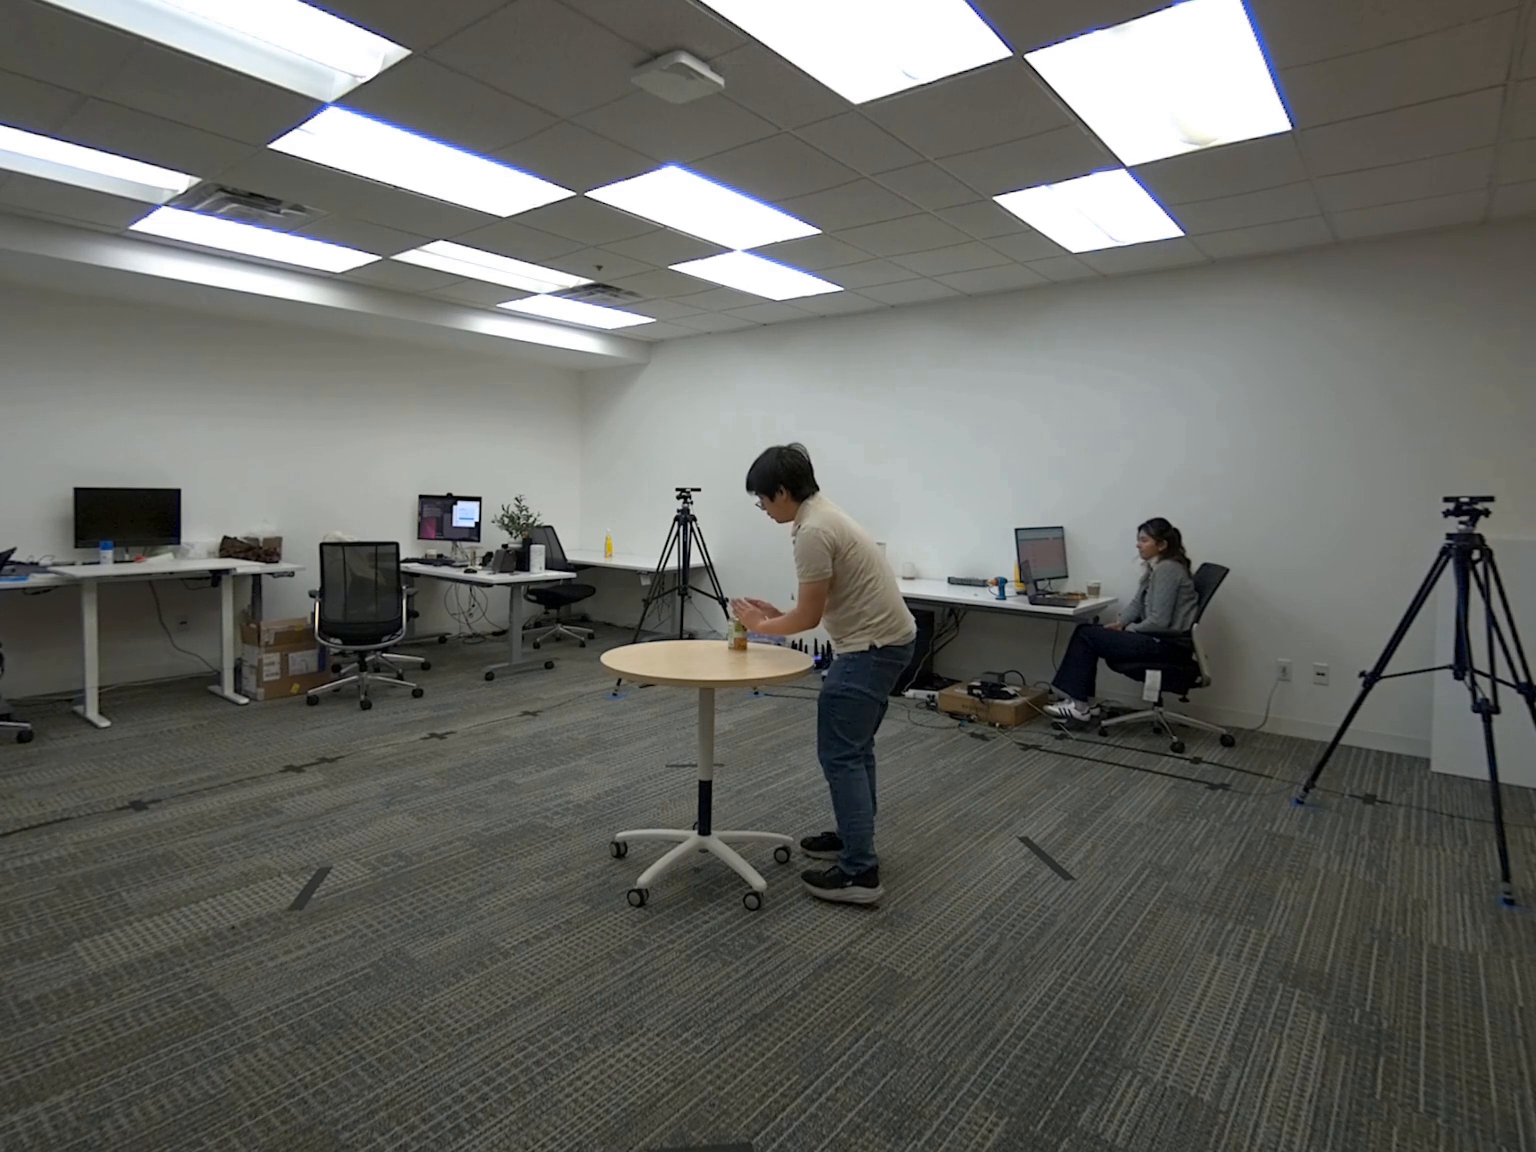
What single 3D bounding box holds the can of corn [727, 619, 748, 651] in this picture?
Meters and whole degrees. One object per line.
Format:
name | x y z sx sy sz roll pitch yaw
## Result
can of corn | -0.128 0.219 3.266 0.074 0.111 0.074 3 3 -2
